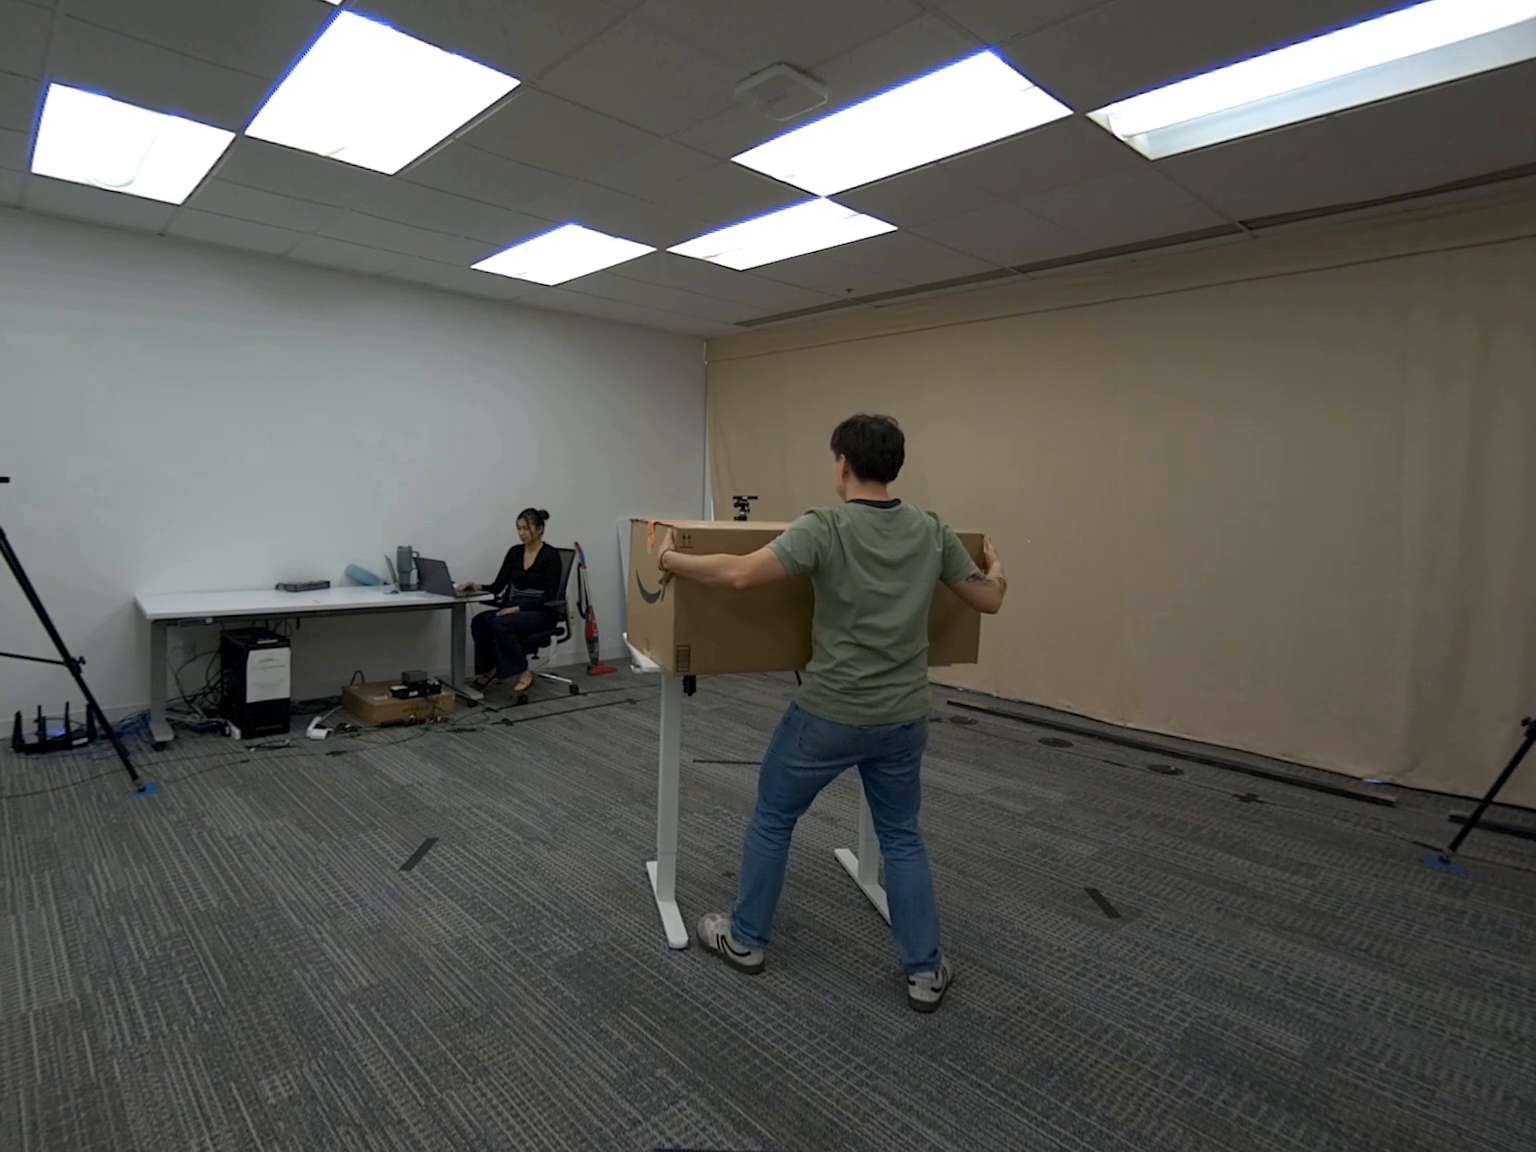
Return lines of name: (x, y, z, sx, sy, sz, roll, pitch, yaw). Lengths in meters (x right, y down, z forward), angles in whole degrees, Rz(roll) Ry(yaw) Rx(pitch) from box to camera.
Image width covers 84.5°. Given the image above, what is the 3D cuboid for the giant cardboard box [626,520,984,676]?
giant cardboard box: (0.092, 0.040, 2.793, 1.010, 0.425, 0.588, 0, 6, -20)
